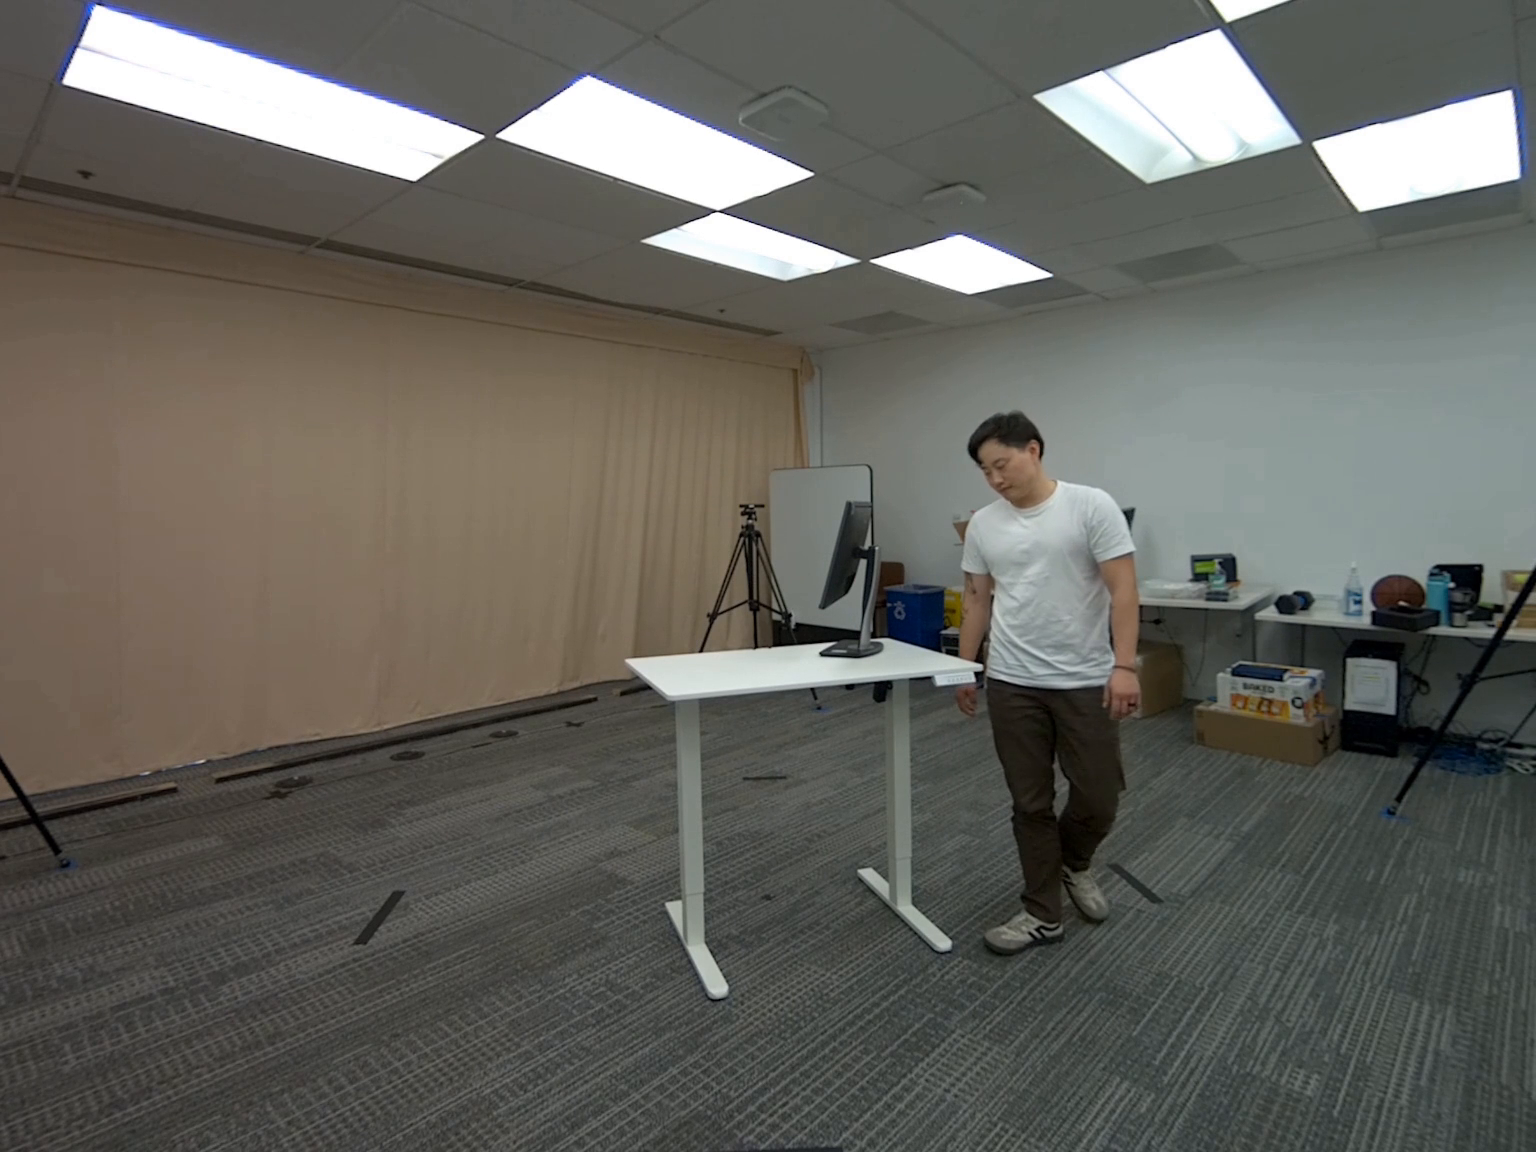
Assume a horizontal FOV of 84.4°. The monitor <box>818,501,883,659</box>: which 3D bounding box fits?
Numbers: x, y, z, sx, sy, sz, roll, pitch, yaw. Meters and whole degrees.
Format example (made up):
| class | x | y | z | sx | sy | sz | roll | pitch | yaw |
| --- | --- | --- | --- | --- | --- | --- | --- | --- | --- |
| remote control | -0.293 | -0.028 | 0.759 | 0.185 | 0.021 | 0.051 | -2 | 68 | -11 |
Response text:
| class | x | y | z | sx | sy | sz | roll | pitch | yaw |
| --- | --- | --- | --- | --- | --- | --- | --- | --- | --- |
| monitor | 0.306 | 0.008 | 2.881 | 0.190 | 0.521 | 0.531 | 1 | 4 | 14 |
